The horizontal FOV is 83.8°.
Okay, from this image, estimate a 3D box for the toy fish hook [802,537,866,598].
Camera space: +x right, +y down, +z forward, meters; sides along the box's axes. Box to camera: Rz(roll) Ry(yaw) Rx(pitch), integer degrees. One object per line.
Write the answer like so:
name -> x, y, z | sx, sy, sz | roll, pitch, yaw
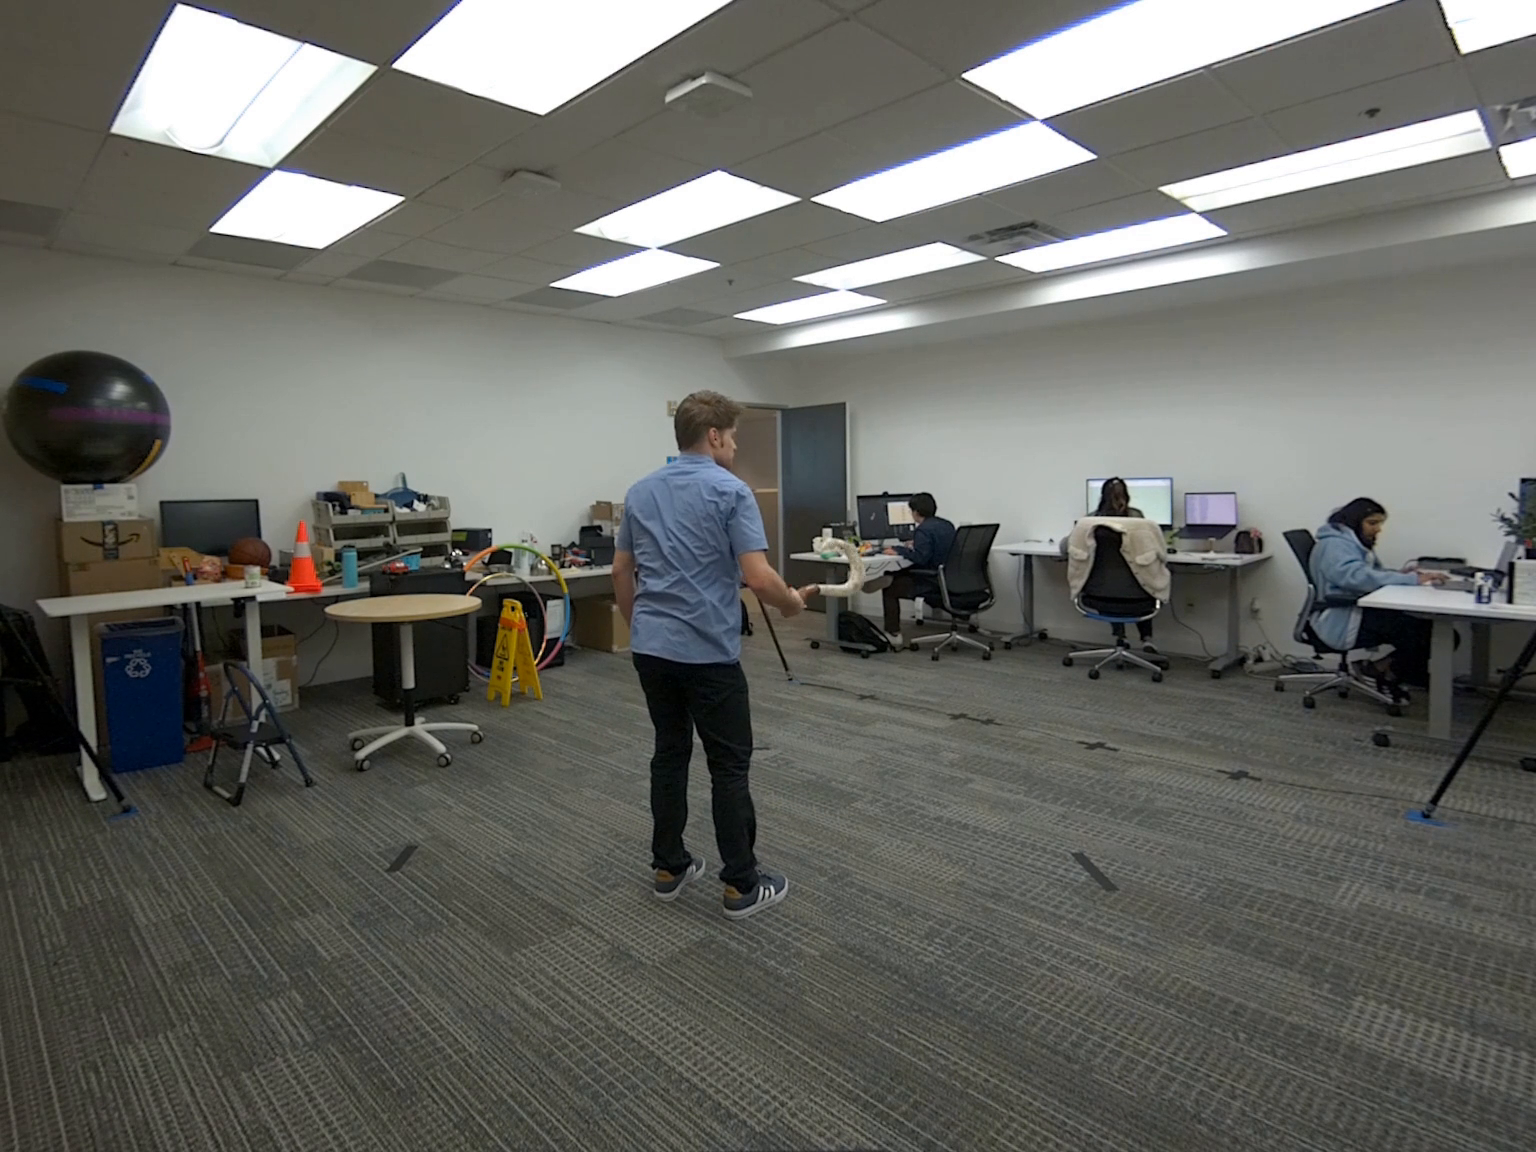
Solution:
toy fish hook -> 0.195, 0.013, 3.122 | 0.496, 0.226, 0.049 | -18, -8, -46
